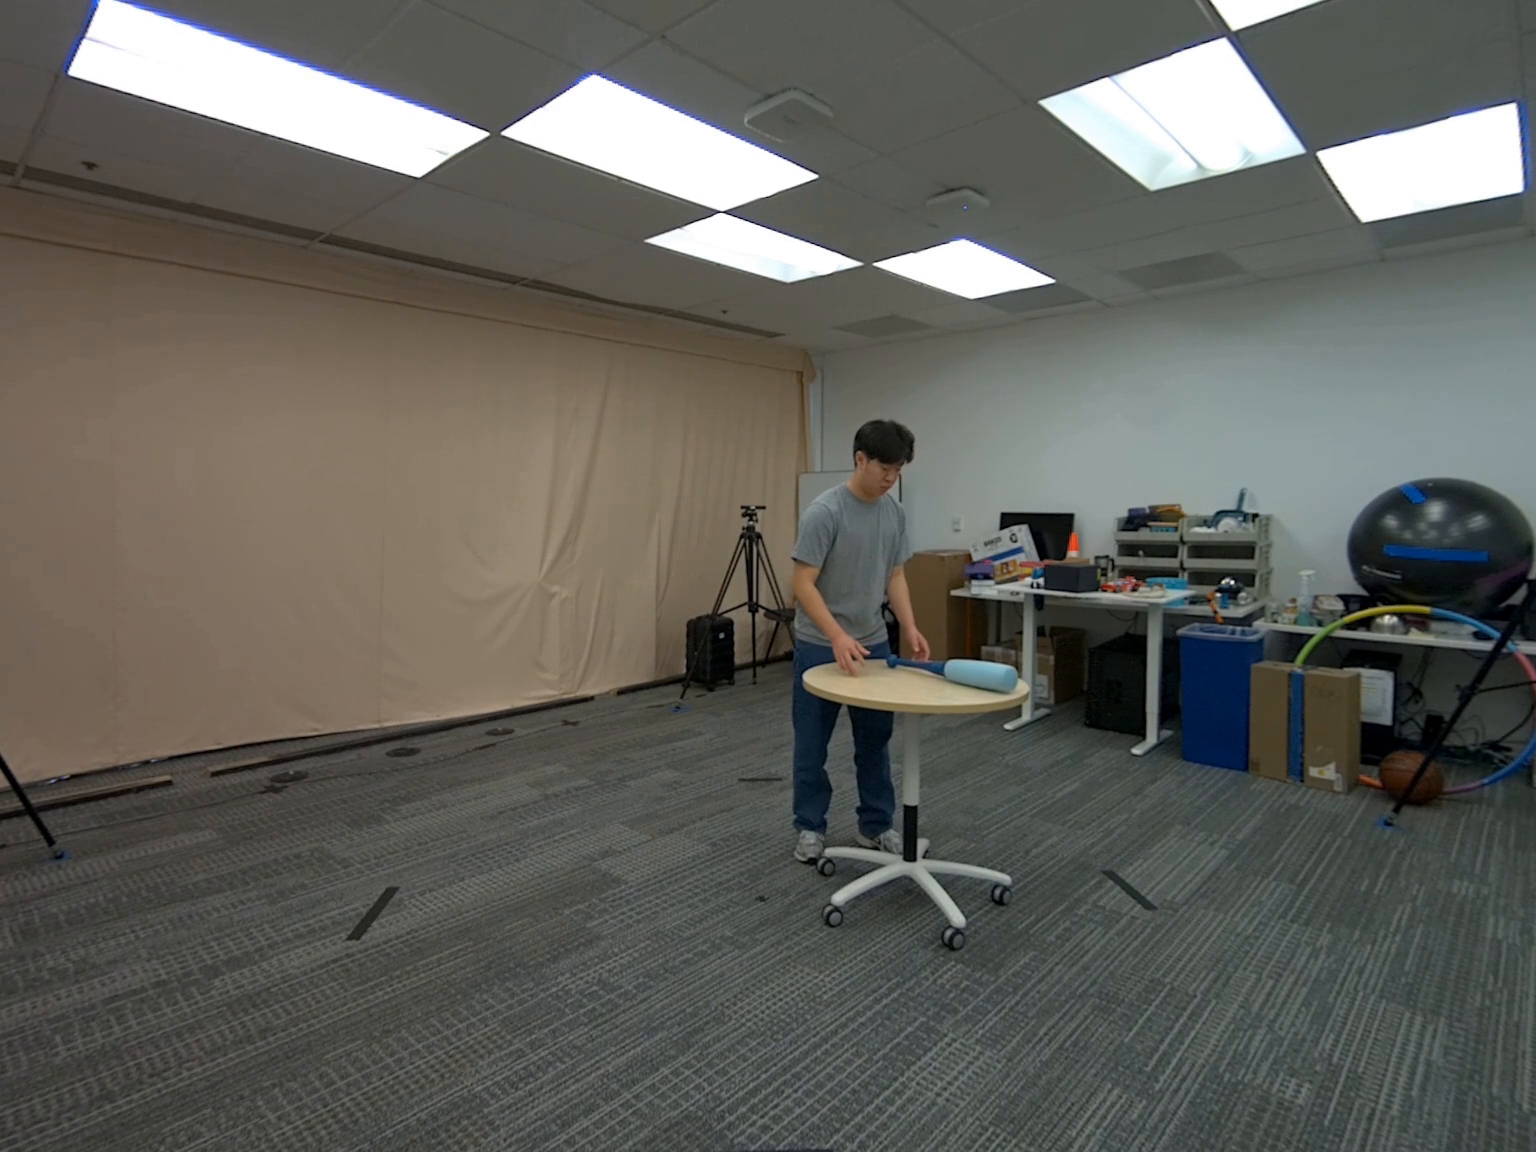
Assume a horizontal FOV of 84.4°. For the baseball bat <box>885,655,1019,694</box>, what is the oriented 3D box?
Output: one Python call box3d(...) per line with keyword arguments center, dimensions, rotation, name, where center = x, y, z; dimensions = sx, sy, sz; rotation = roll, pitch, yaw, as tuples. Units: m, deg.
box3d(center=(0.625, 0.332, 2.932), dimensions=(0.086, 0.089, 0.559), rotation=(-3, 2, -36), name="baseball bat")
